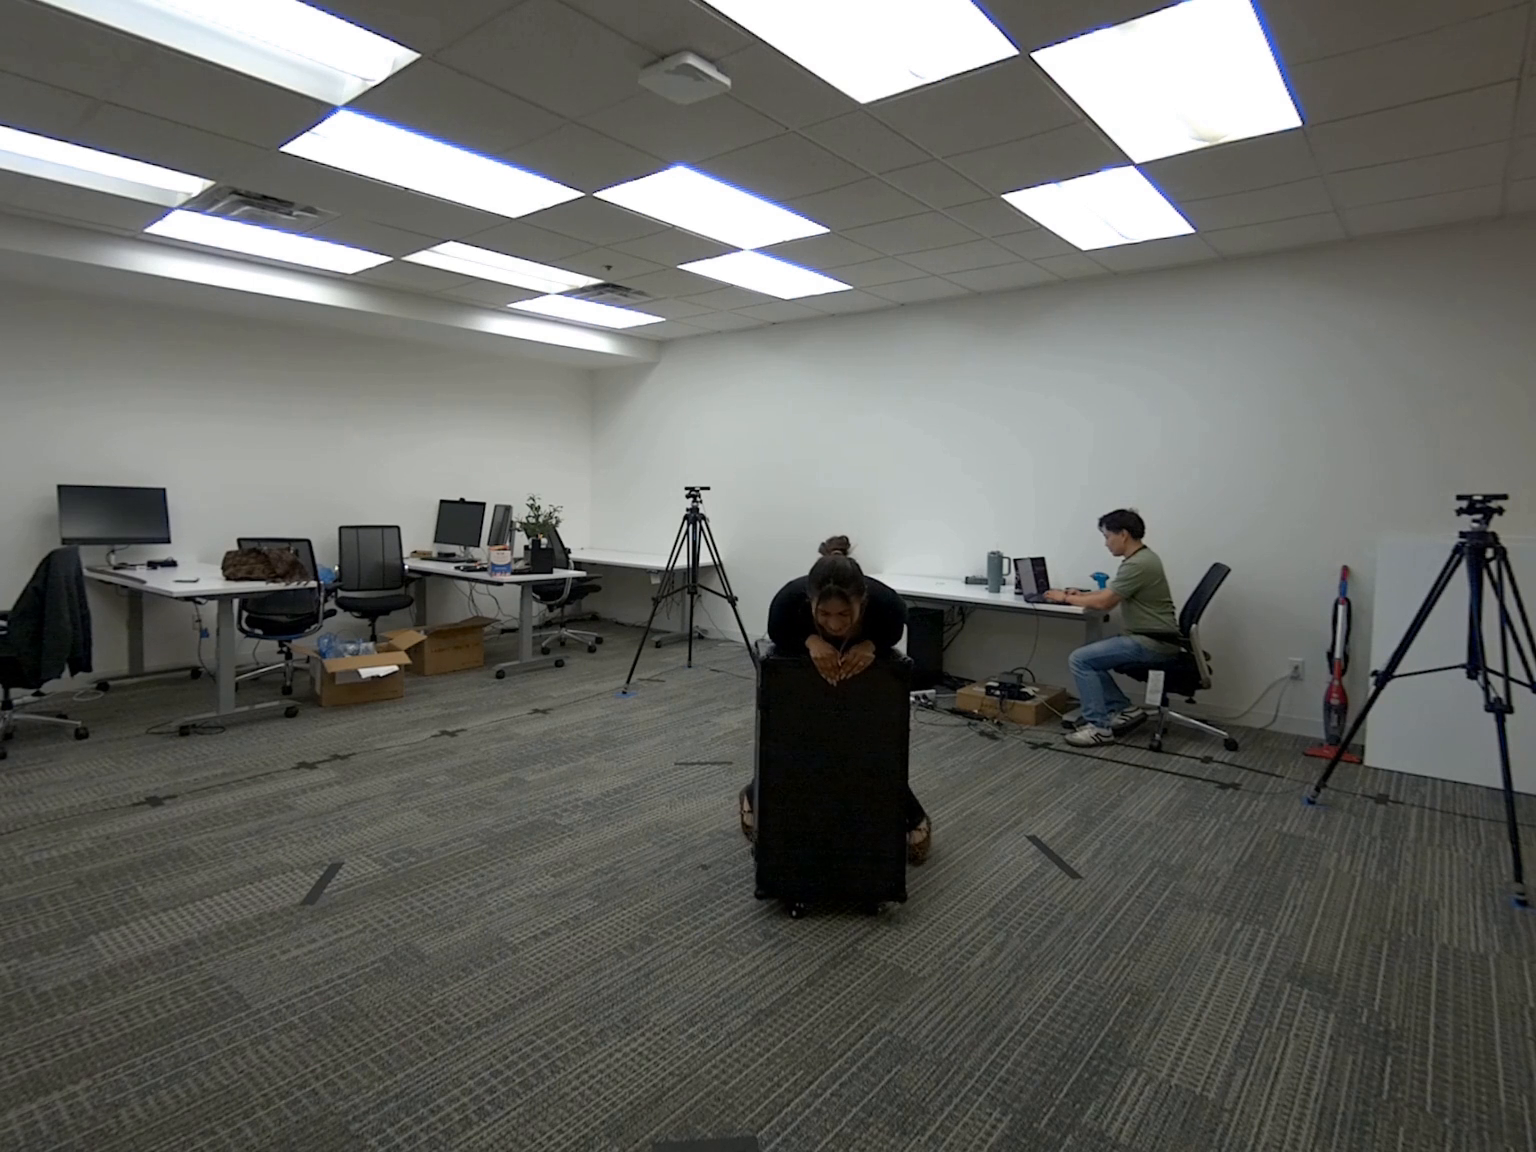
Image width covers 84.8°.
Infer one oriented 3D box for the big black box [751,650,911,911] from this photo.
[{"bbox_3d":[0.189,0.673,2.898,0.521,0.860,0.397,1,2,-1],"label":"big black box"}]
